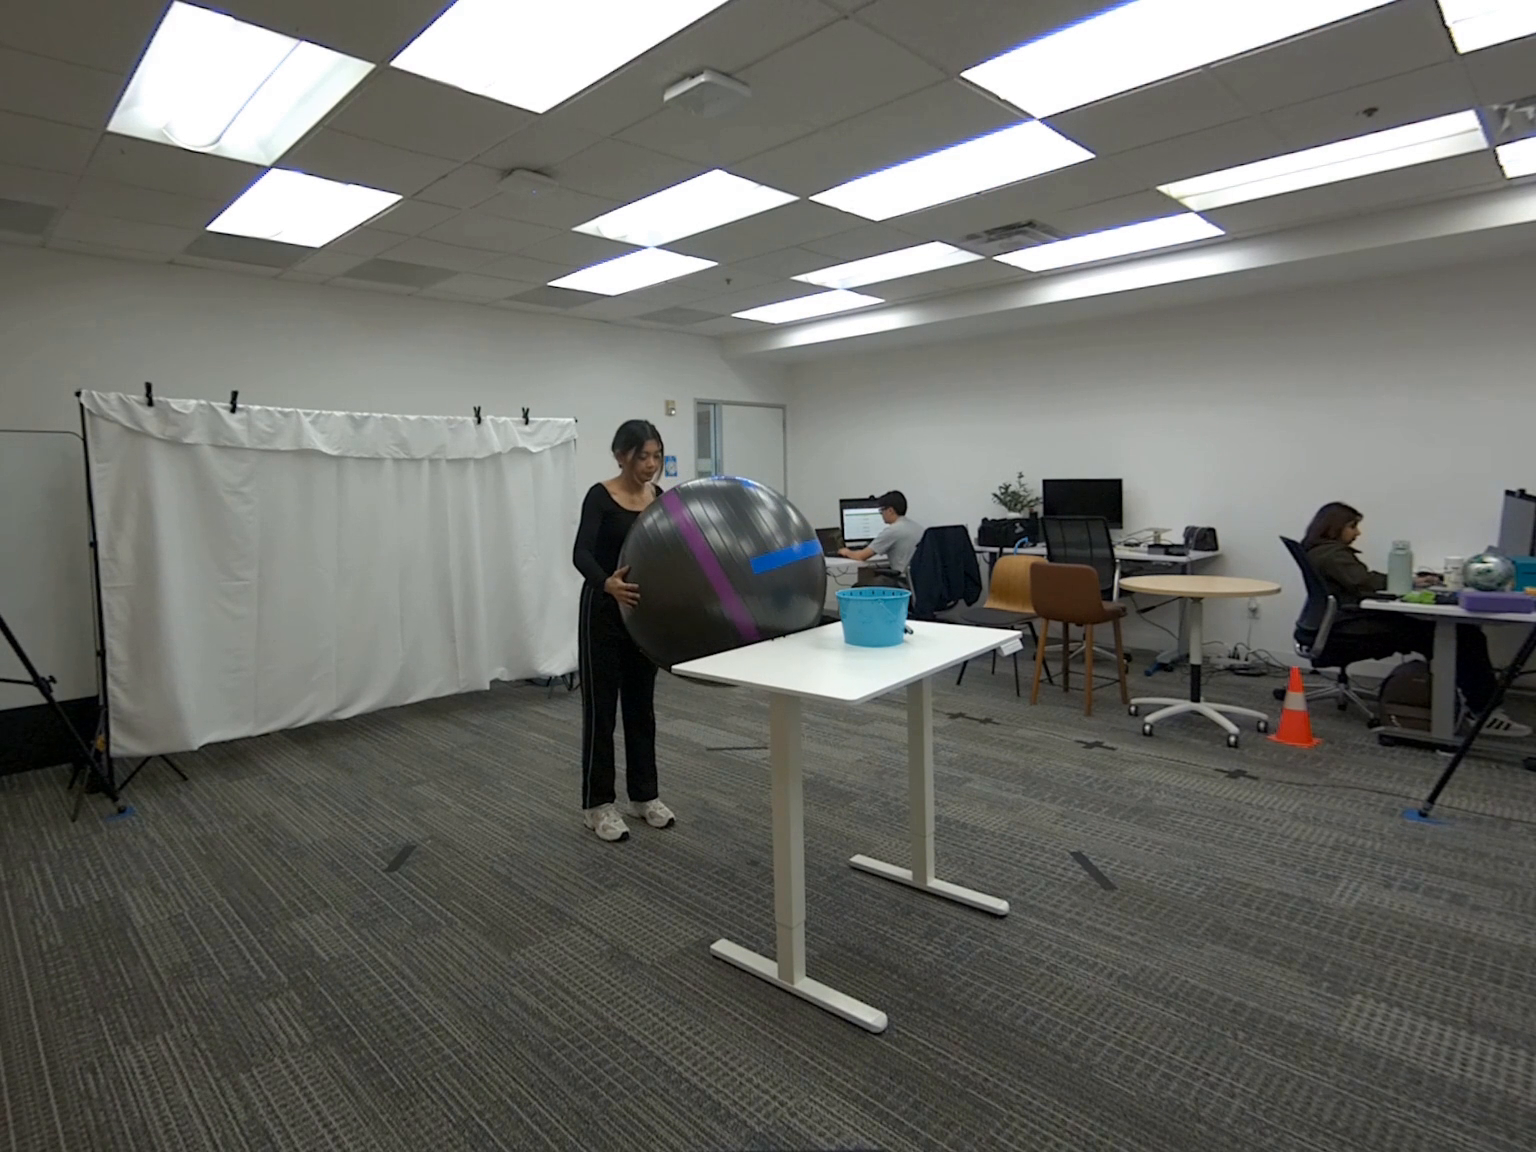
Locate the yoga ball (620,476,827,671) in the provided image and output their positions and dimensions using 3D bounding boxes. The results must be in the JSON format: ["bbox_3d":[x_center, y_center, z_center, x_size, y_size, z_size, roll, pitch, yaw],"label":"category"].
[{"bbox_3d":[-0.173,0.018,3.091,0.757,0.755,0.762,-1,5,-2],"label":"yoga ball"}]
